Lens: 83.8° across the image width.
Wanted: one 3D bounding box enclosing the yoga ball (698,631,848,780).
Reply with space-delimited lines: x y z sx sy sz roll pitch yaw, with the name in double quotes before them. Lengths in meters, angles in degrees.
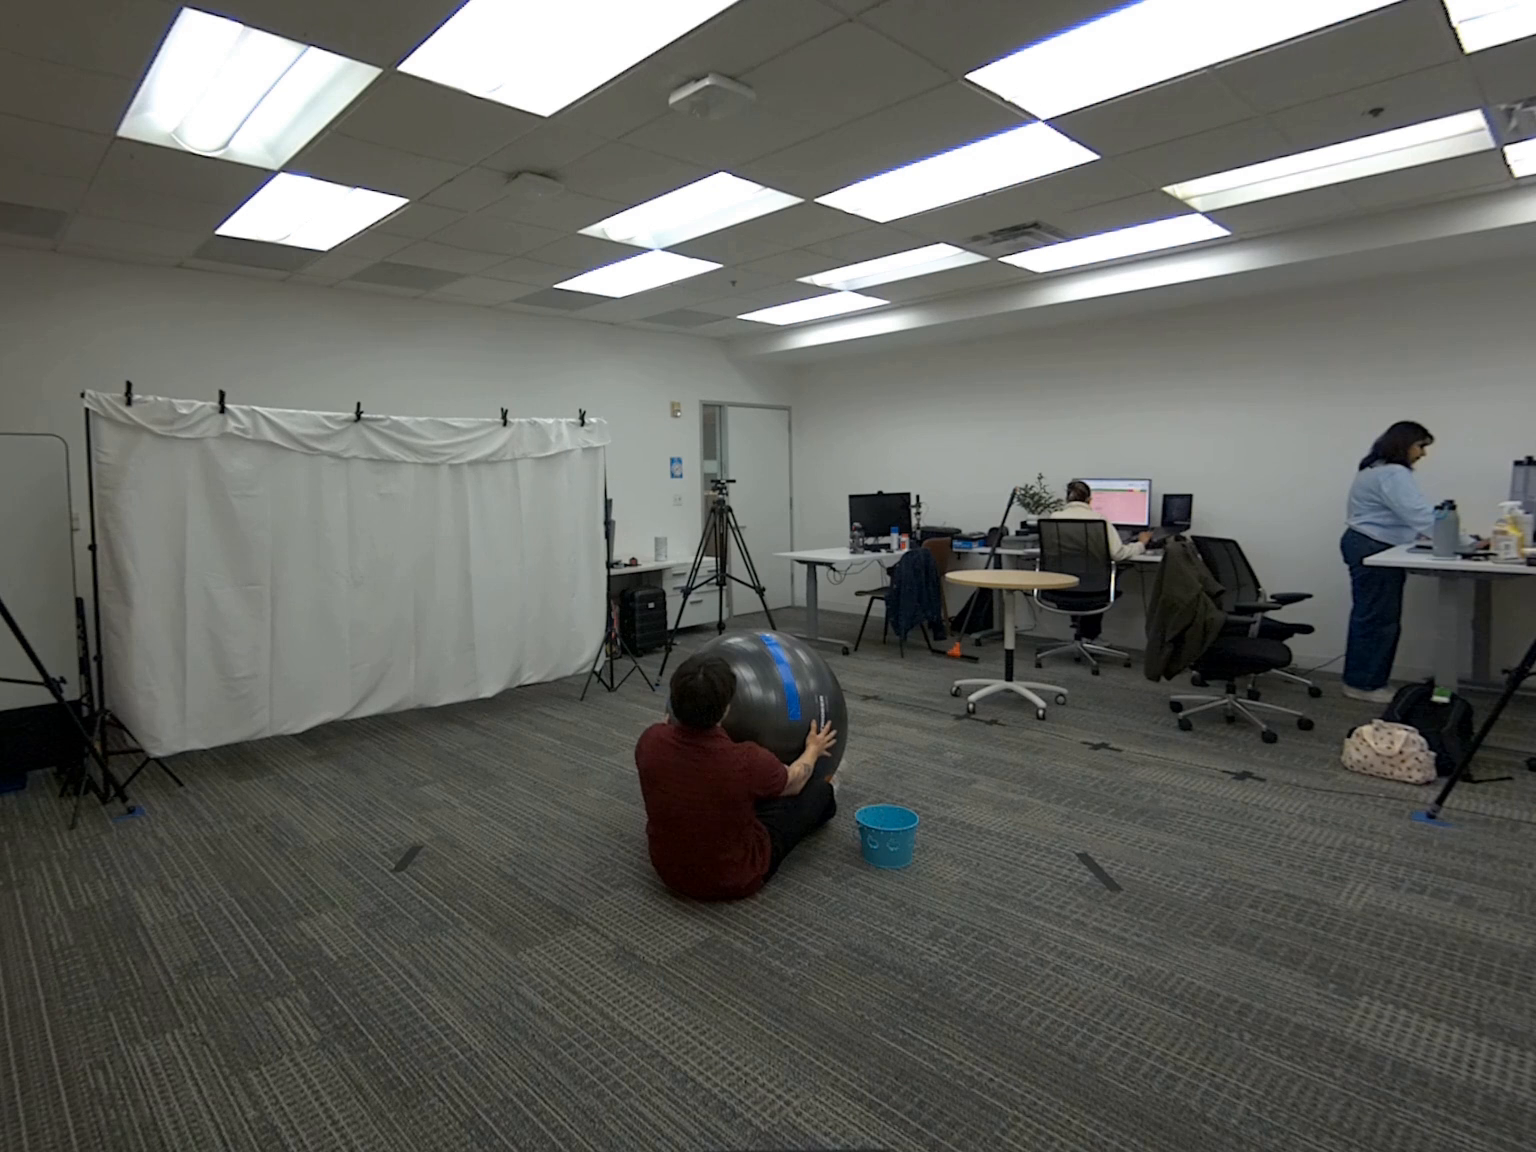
"yoga ball" -0.053 0.604 3.534 0.757 0.755 0.762 -1 5 -2
